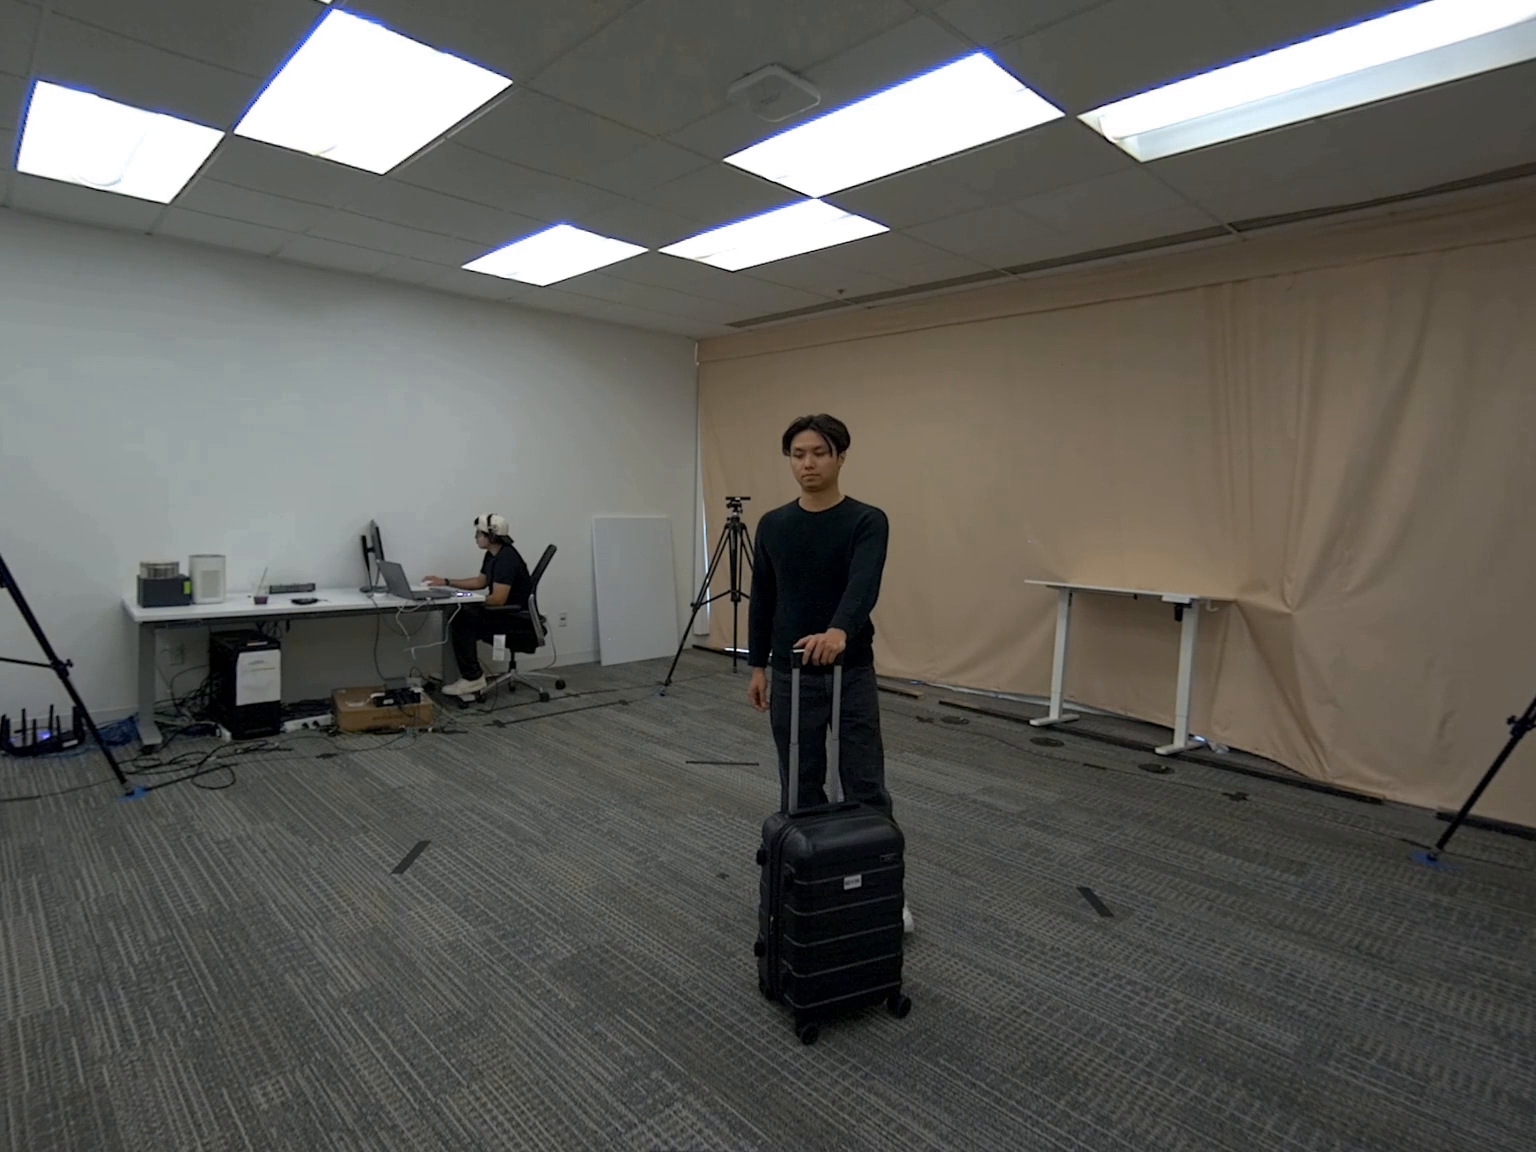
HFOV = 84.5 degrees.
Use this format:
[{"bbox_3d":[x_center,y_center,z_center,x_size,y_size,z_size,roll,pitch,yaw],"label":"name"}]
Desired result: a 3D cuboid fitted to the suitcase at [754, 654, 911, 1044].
[{"bbox_3d":[0.174,0.717,2.271,0.378,0.973,0.262,-2,8,-22],"label":"suitcase"}]
